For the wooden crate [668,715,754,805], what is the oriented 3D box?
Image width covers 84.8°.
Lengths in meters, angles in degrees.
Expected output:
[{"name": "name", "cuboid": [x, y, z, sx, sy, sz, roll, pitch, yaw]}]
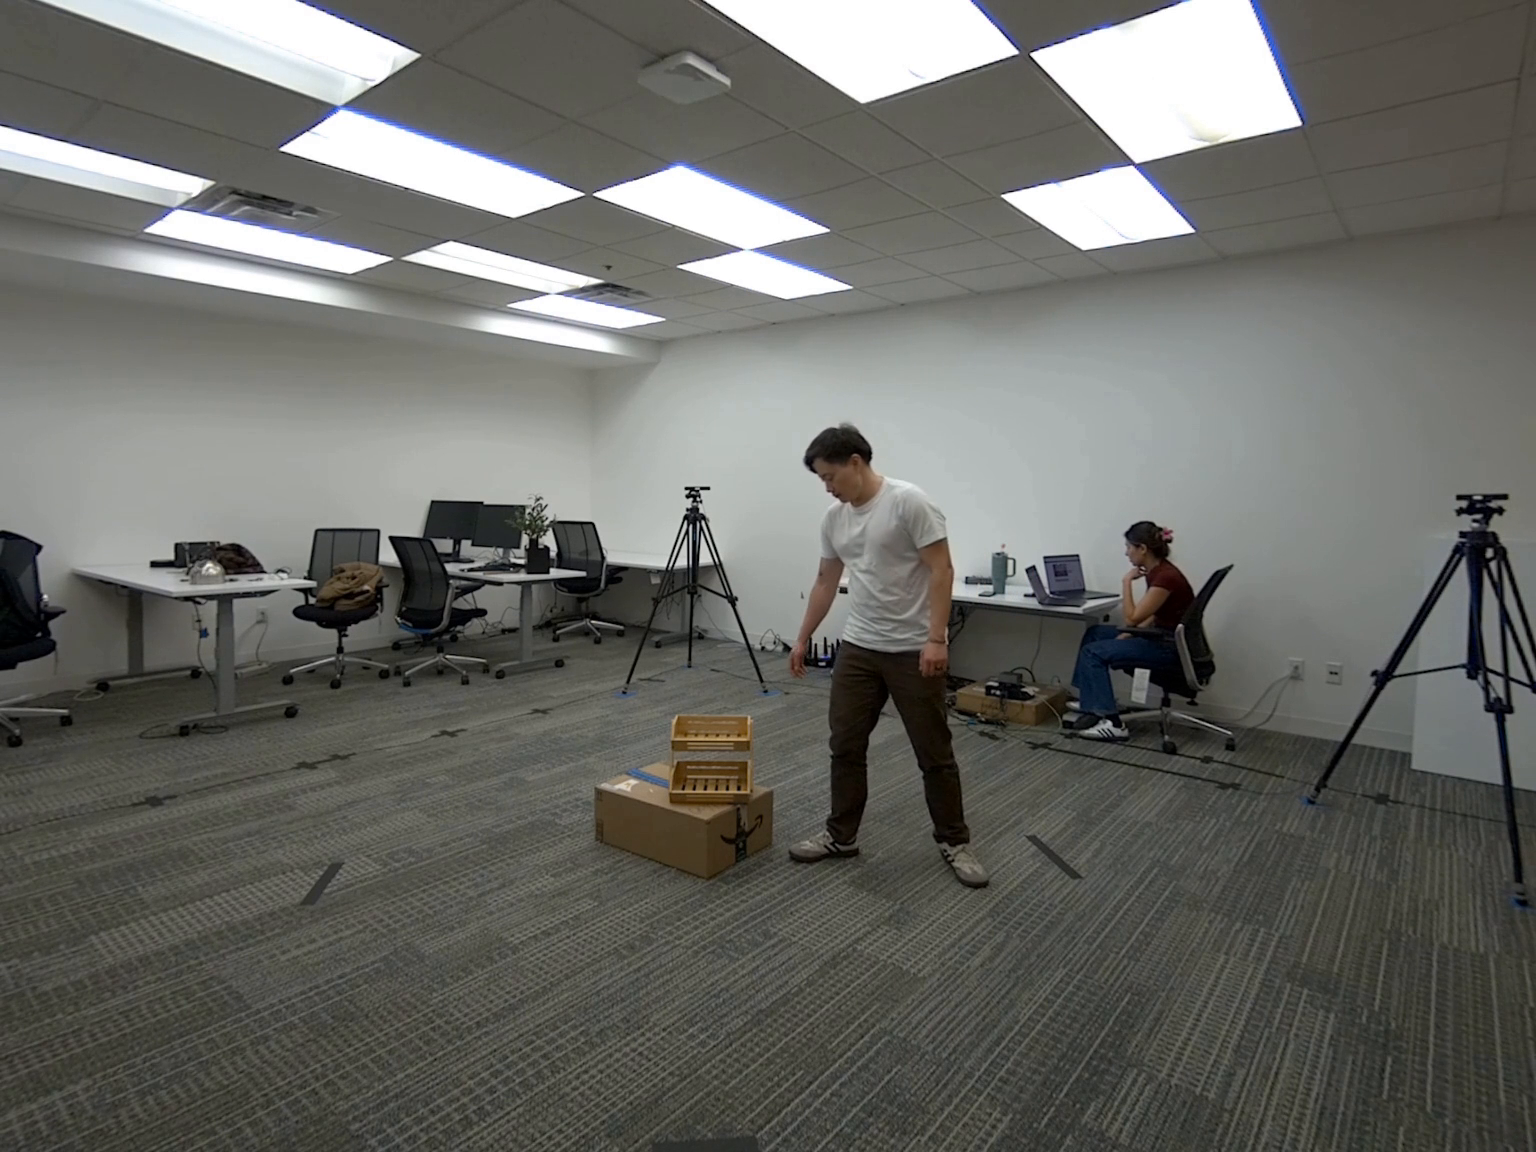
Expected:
[{"name": "wooden crate", "cuboid": [-0.231, 0.698, 3.299, 0.325, 0.273, 0.302, 0, 3, 1]}]
